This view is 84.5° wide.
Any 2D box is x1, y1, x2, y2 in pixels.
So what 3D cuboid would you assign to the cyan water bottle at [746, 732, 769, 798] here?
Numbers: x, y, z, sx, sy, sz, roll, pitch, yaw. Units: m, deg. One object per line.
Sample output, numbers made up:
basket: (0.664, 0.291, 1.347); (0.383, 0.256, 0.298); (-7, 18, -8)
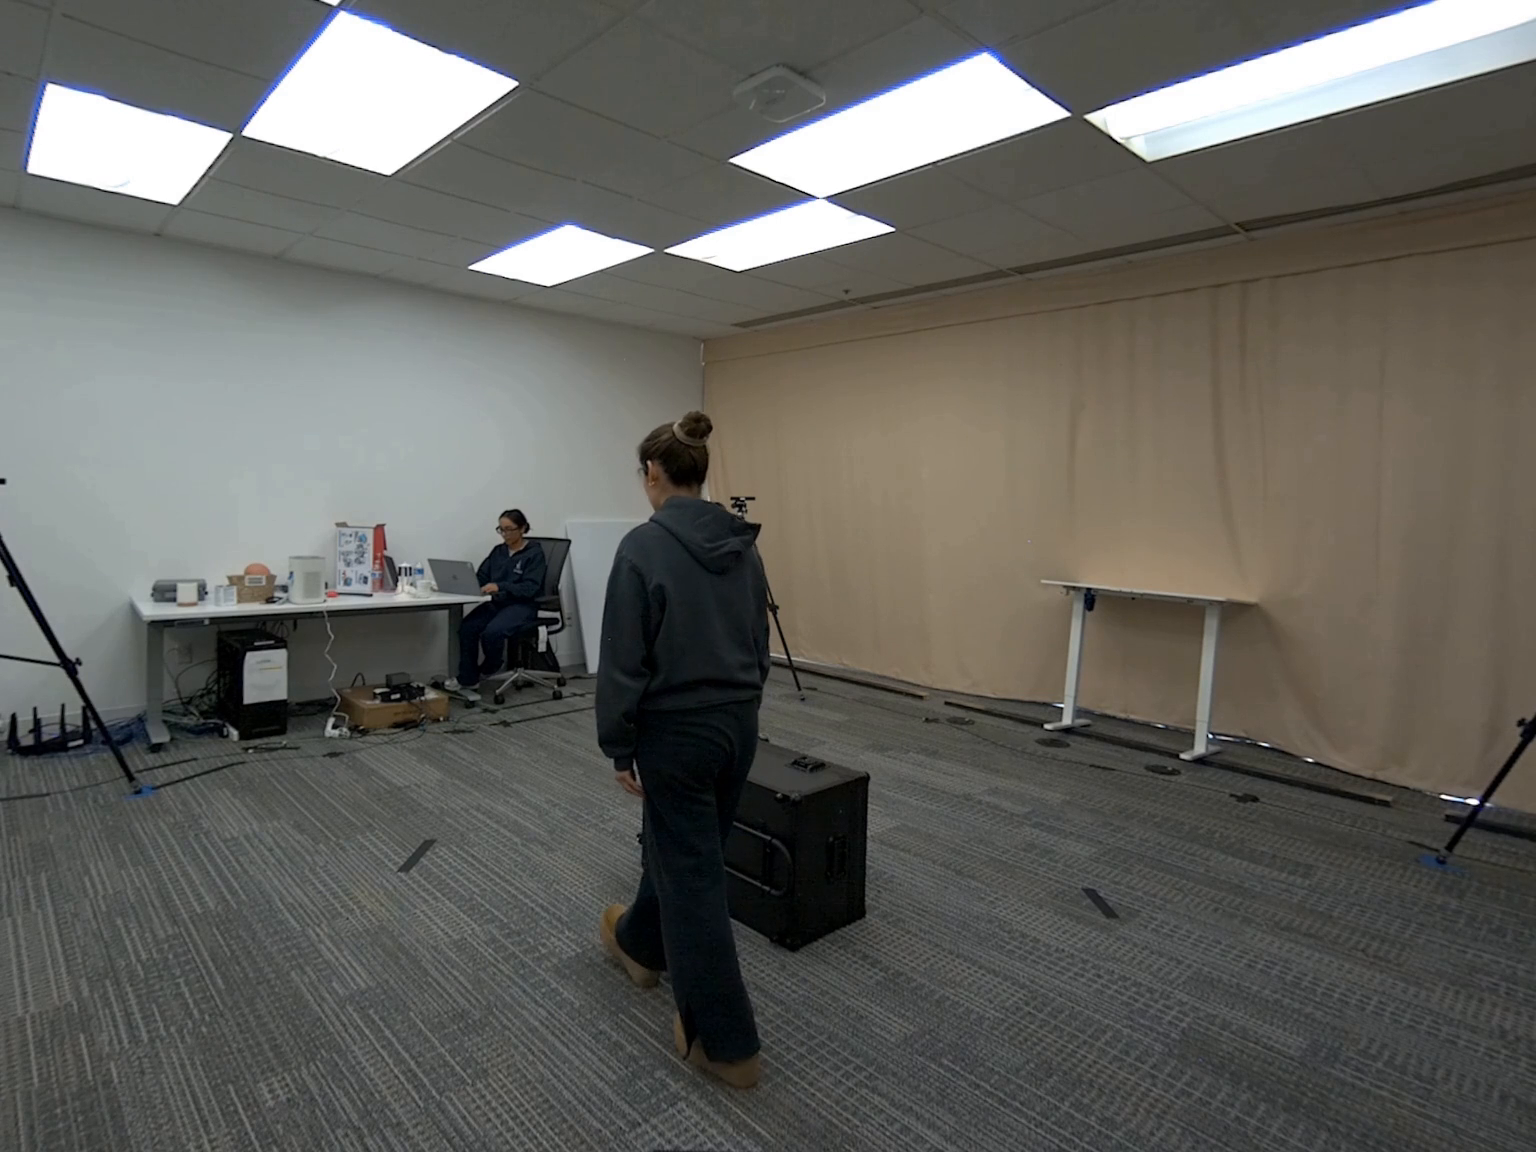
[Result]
cyan water bottle: (-0.051, 0.892, 4.018); (0.092, 0.283, 0.092); (2, 2, -1)
